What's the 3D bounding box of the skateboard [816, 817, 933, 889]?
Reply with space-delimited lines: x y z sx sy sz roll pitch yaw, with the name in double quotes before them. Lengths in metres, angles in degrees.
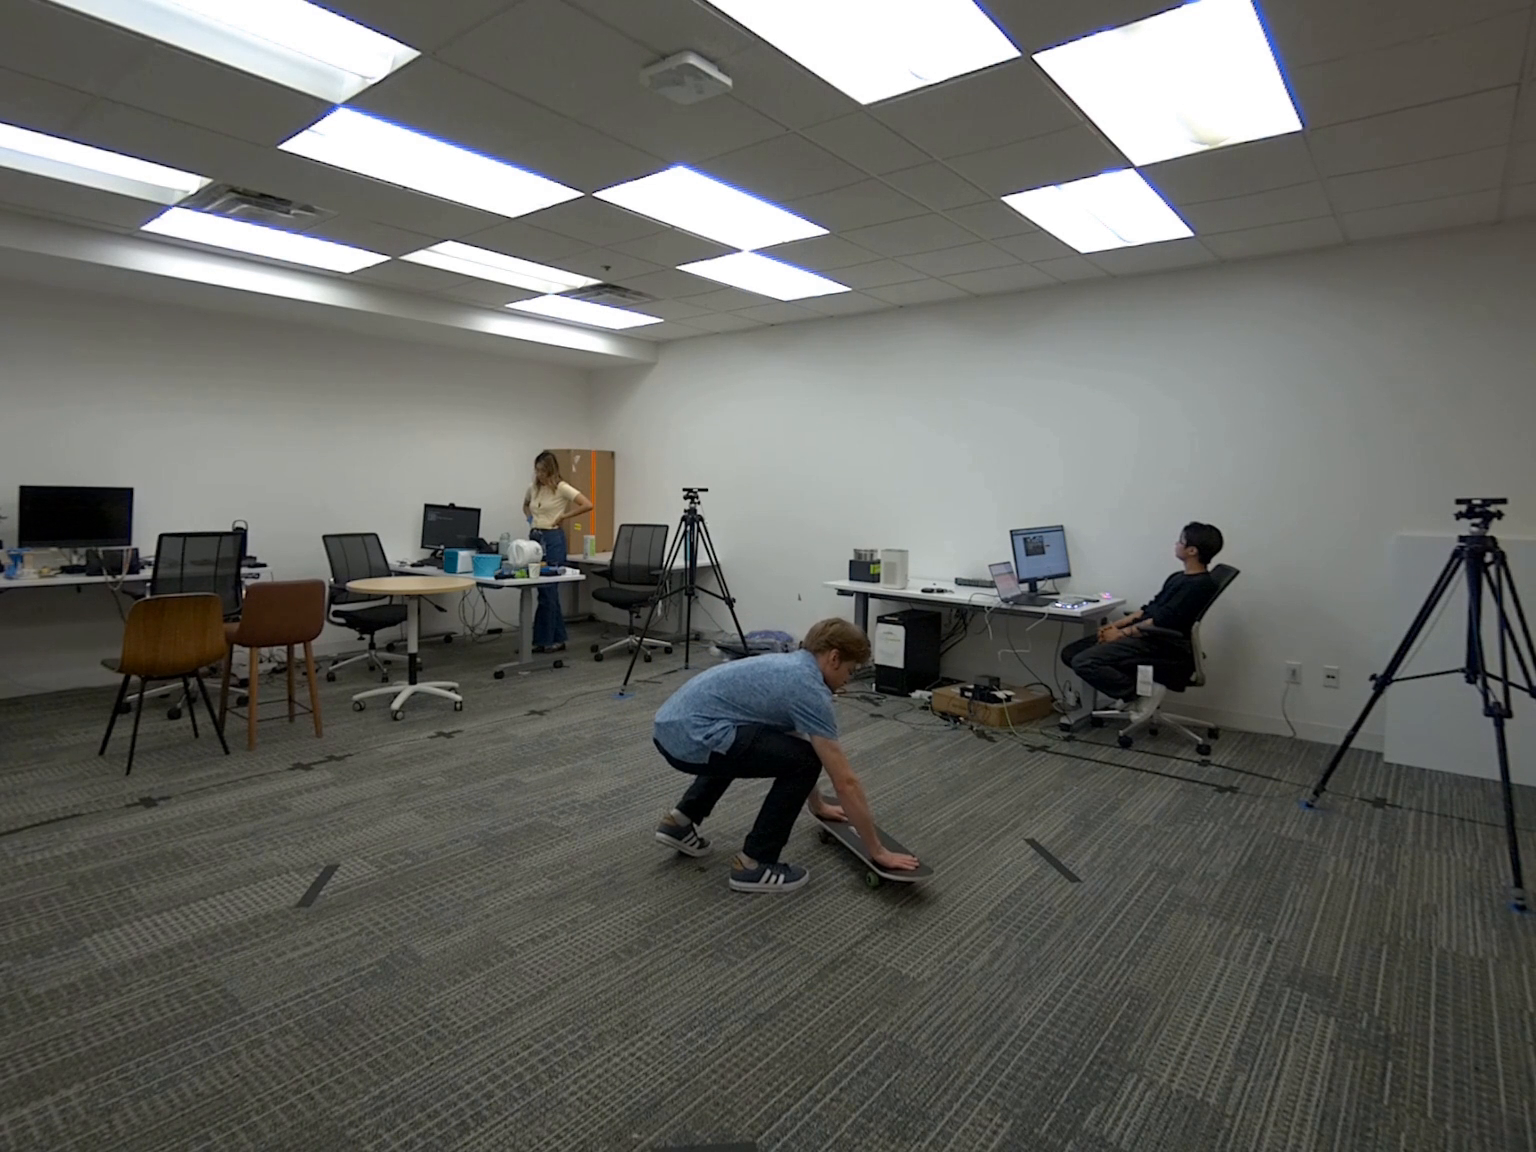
"skateboard" 0.350 1.013 3.215 0.189 0.110 0.805 0 6 -22
